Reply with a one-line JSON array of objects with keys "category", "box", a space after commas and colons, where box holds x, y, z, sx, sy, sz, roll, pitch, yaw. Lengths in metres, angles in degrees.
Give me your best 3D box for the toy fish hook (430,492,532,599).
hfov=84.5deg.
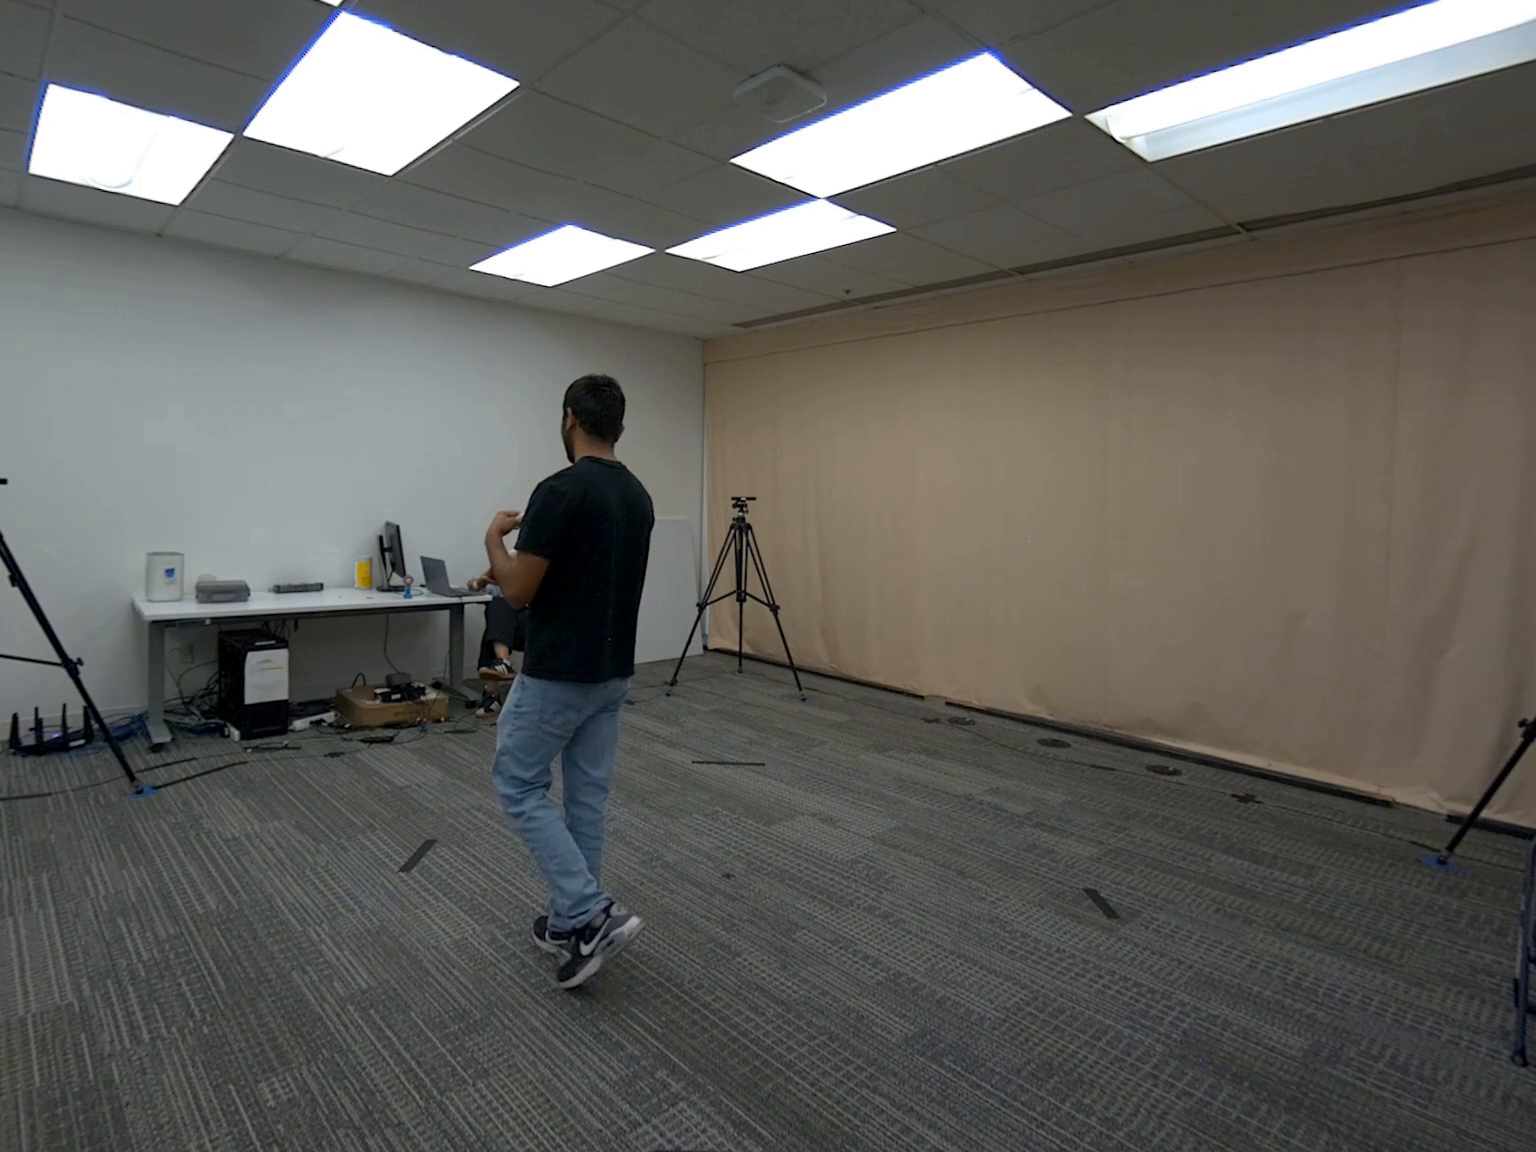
[{"category": "toy fish hook", "box": [-0.824, -0.085, 2.659, 0.509, 0.049, 0.219, -36, -22, 27]}]
